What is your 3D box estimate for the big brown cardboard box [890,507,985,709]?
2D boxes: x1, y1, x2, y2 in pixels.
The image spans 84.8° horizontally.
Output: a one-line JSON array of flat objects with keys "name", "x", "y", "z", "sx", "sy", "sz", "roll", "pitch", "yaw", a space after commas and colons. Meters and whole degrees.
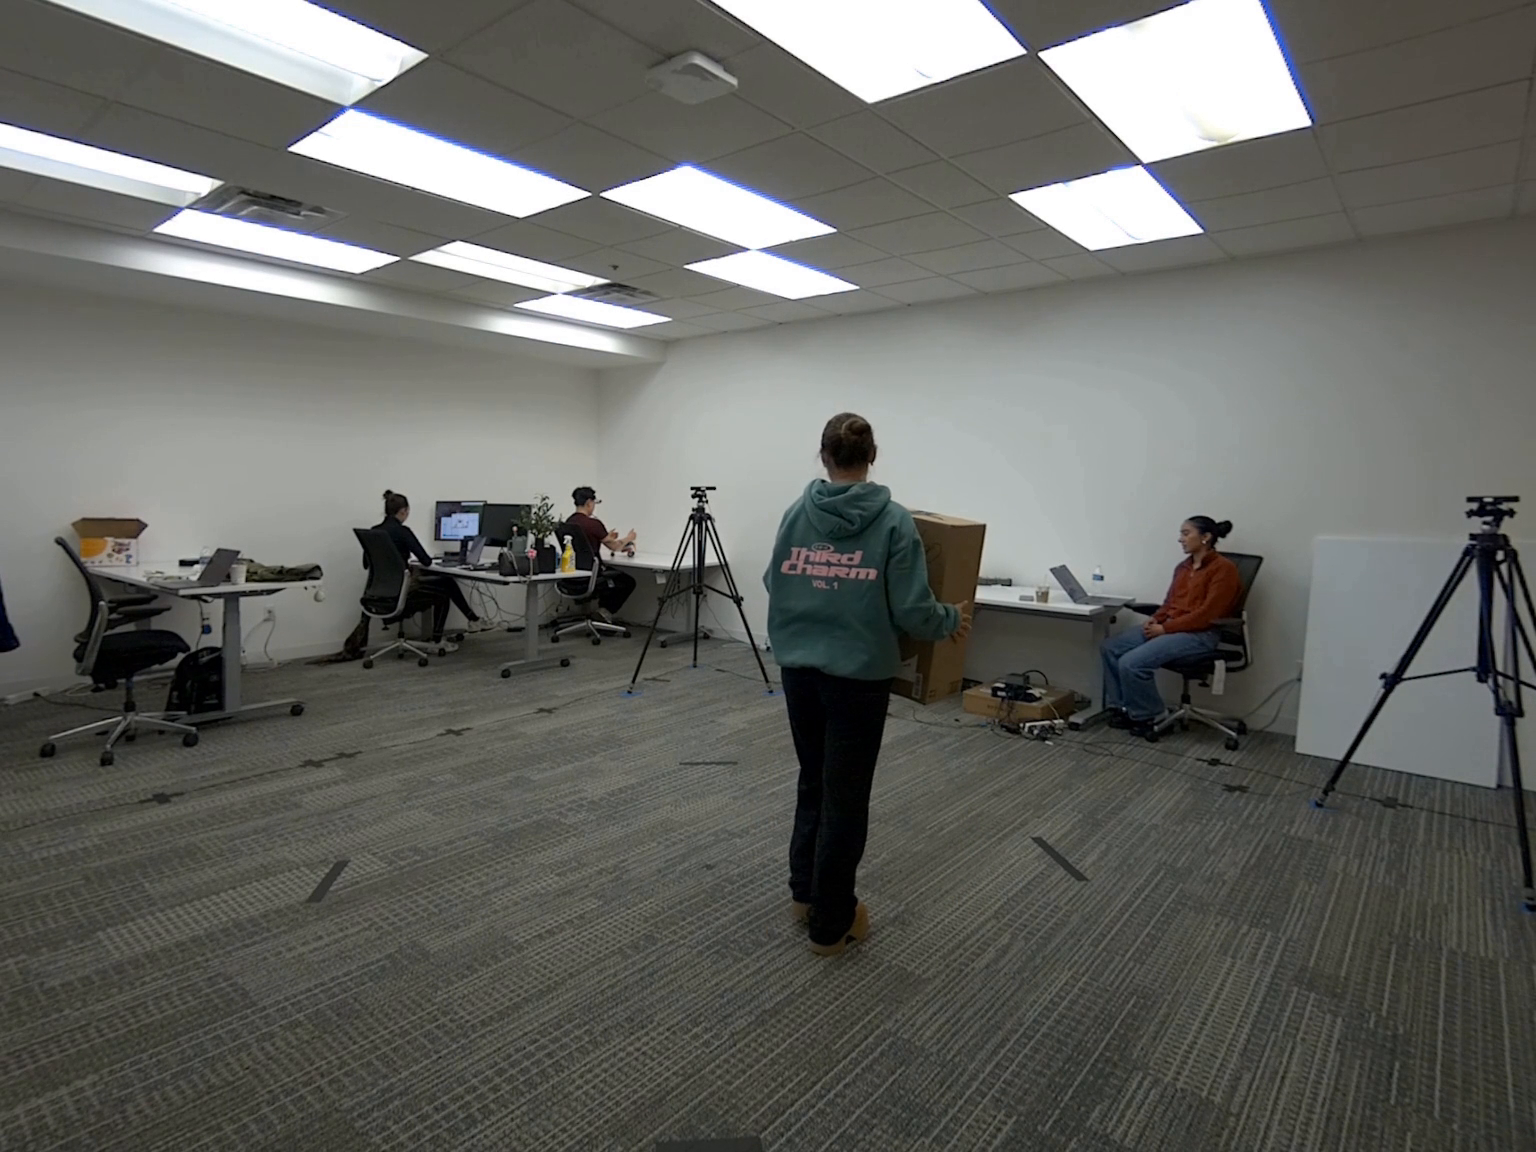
[{"name": "big brown cardboard box", "x": 0.424, "y": 0.074, "z": 2.801, "sx": 0.434, "sy": 0.585, "sz": 0.226, "roll": 15, "pitch": 10, "yaw": 43}]
